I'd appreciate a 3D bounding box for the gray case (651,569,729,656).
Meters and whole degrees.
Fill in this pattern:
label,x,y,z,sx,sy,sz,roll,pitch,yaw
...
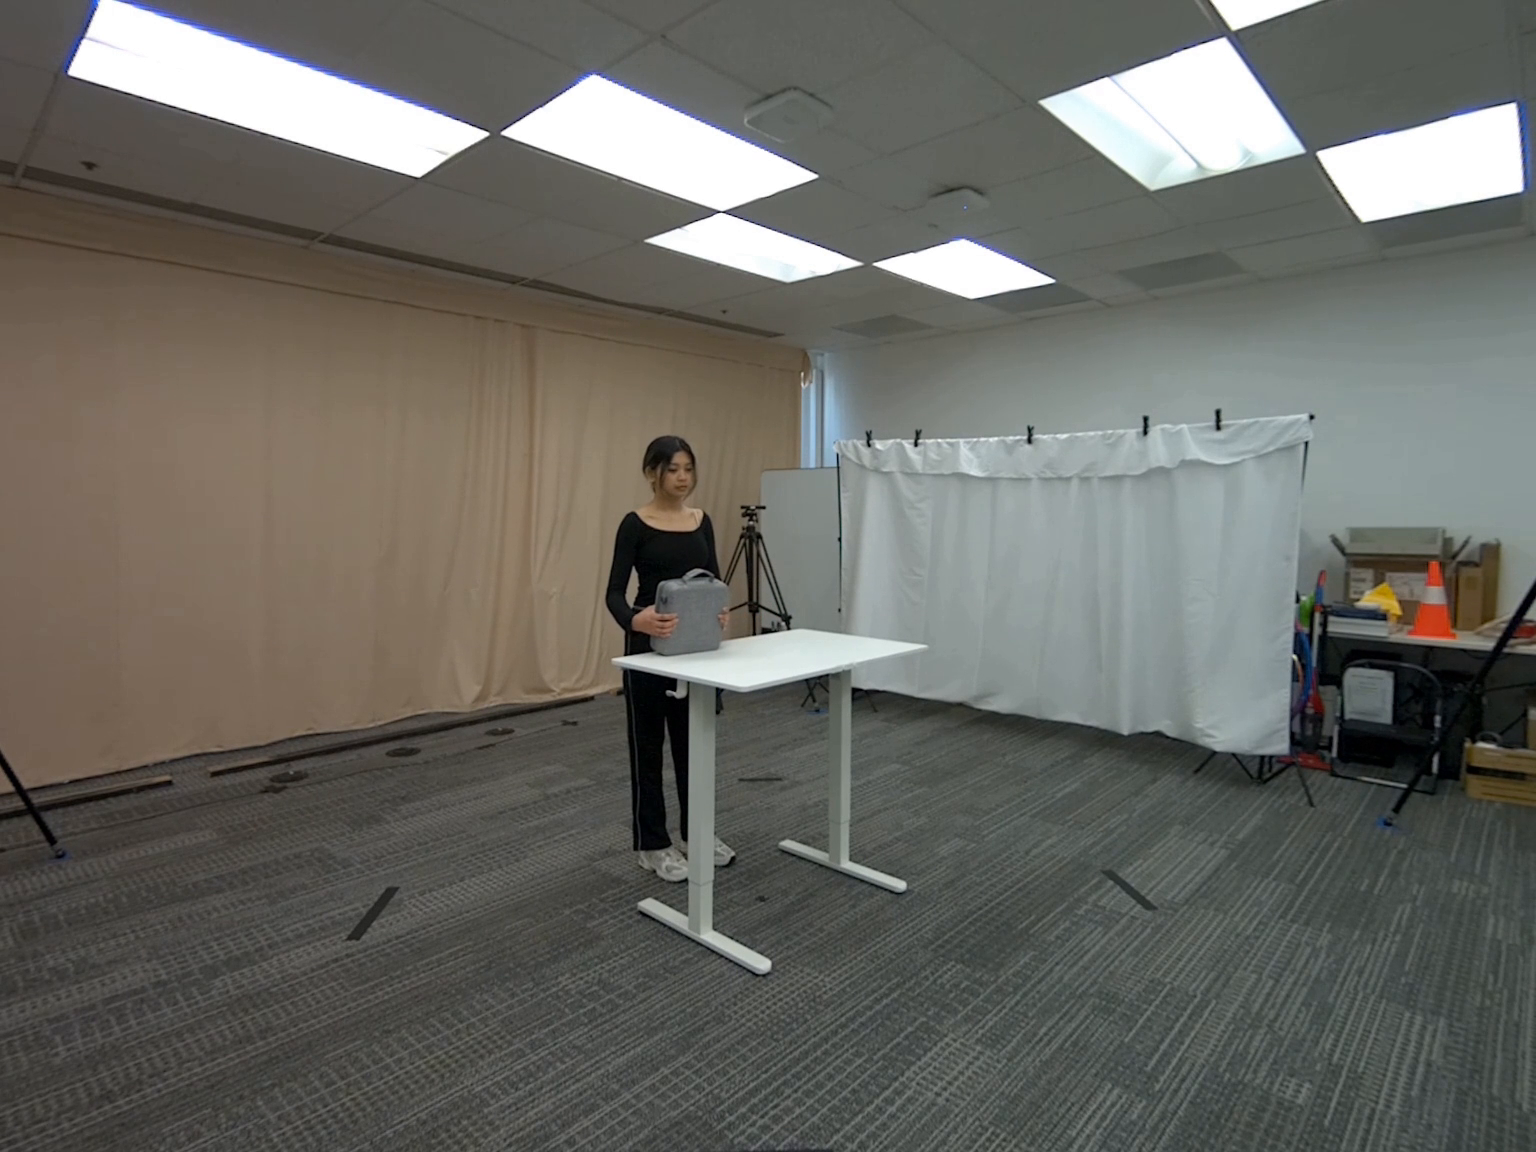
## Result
label,x,y,z,sx,sy,sz,roll,pitch,yaw
gray case,-0.267,0.137,2.901,0.249,0.259,0.108,-3,18,-40
